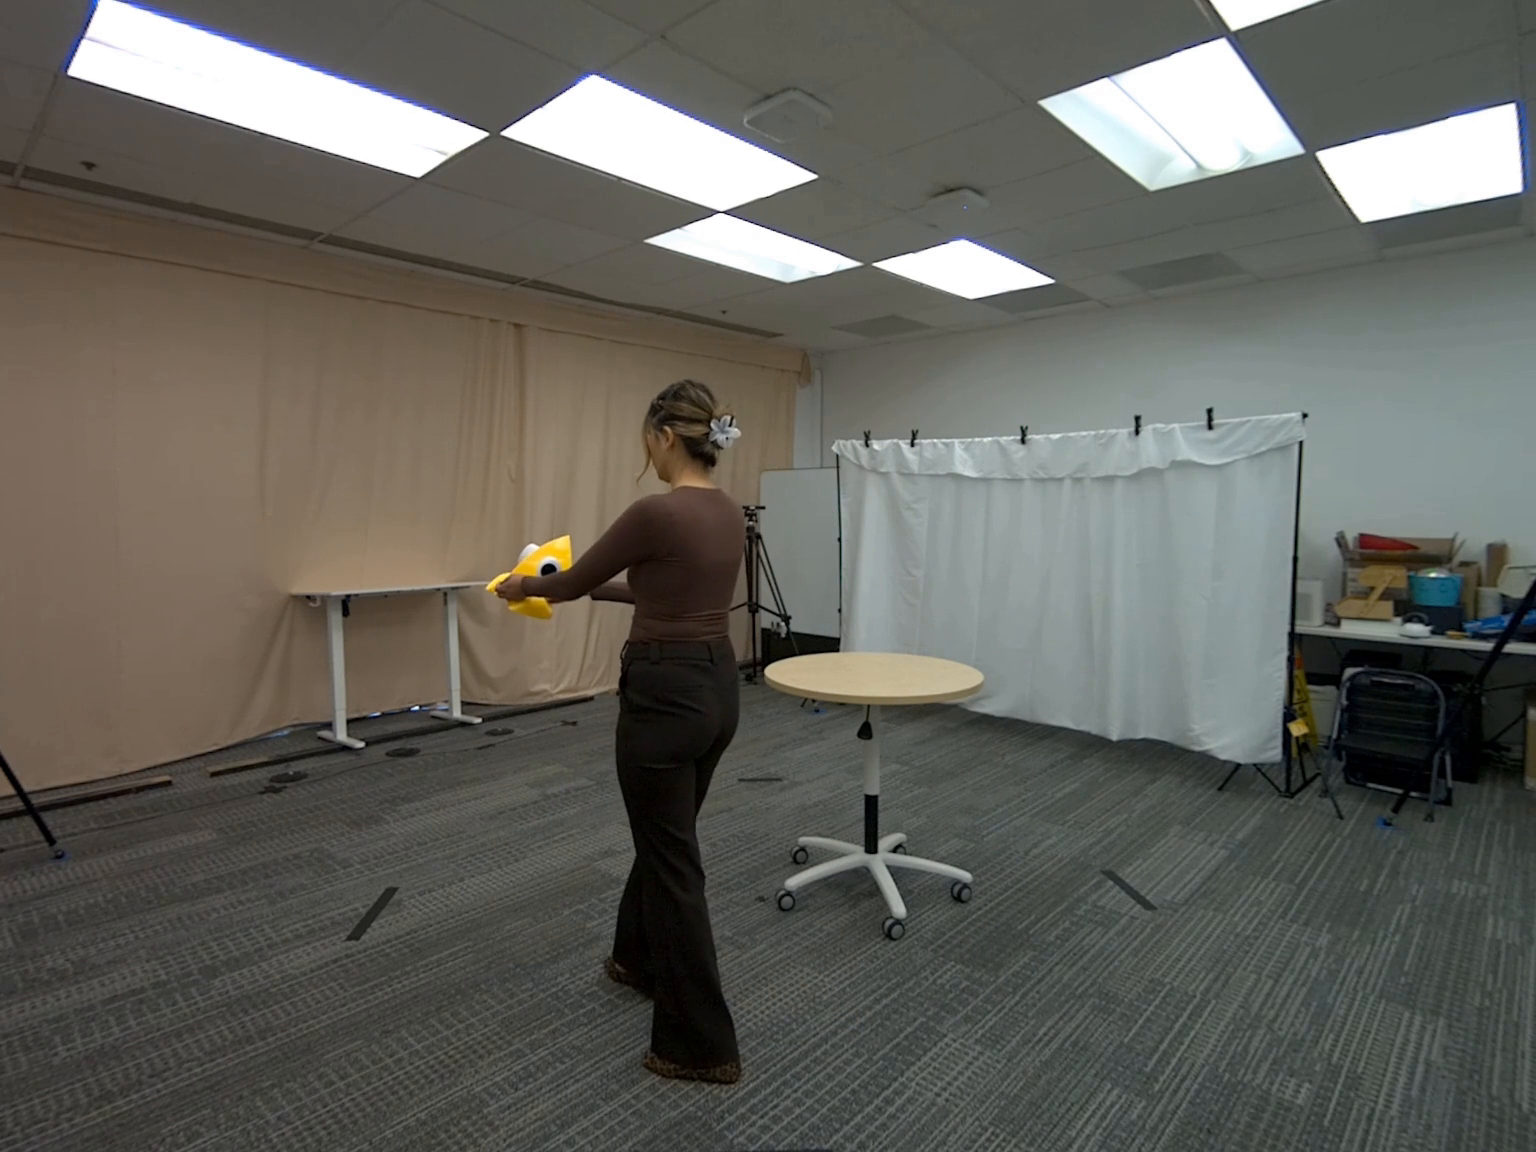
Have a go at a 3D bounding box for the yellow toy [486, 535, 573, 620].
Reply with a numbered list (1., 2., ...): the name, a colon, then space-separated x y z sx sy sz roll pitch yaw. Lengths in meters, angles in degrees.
1. yellow toy: -0.668 -0.026 2.437 0.212 0.230 0.186 30 8 36
